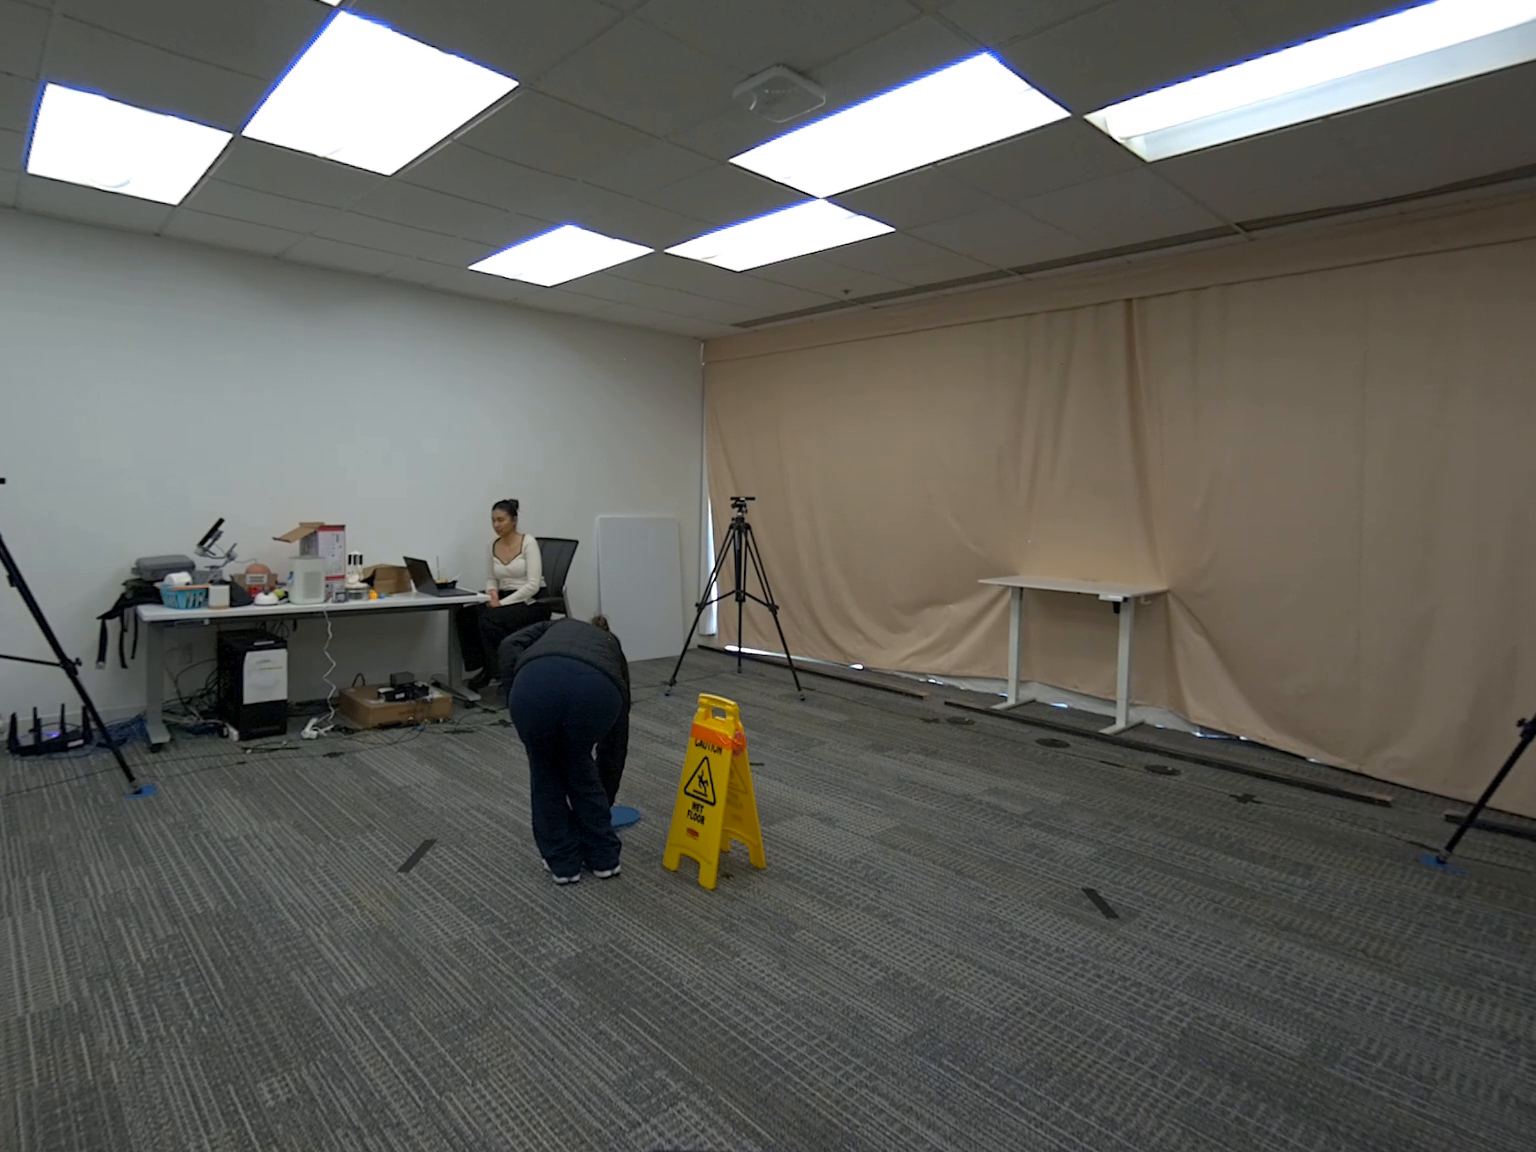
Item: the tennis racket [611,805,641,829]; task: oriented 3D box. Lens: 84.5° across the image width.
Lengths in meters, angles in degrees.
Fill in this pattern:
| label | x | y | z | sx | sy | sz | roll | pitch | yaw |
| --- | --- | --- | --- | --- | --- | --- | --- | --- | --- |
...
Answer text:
| label | x | y | z | sx | sy | sz | roll | pitch | yaw |
| --- | --- | --- | --- | --- | --- | --- | --- | --- | --- |
| tennis racket | -0.660 | 1.028 | 3.528 | 0.214 | 0.032 | 0.432 | 3 | 1 | 2 |
